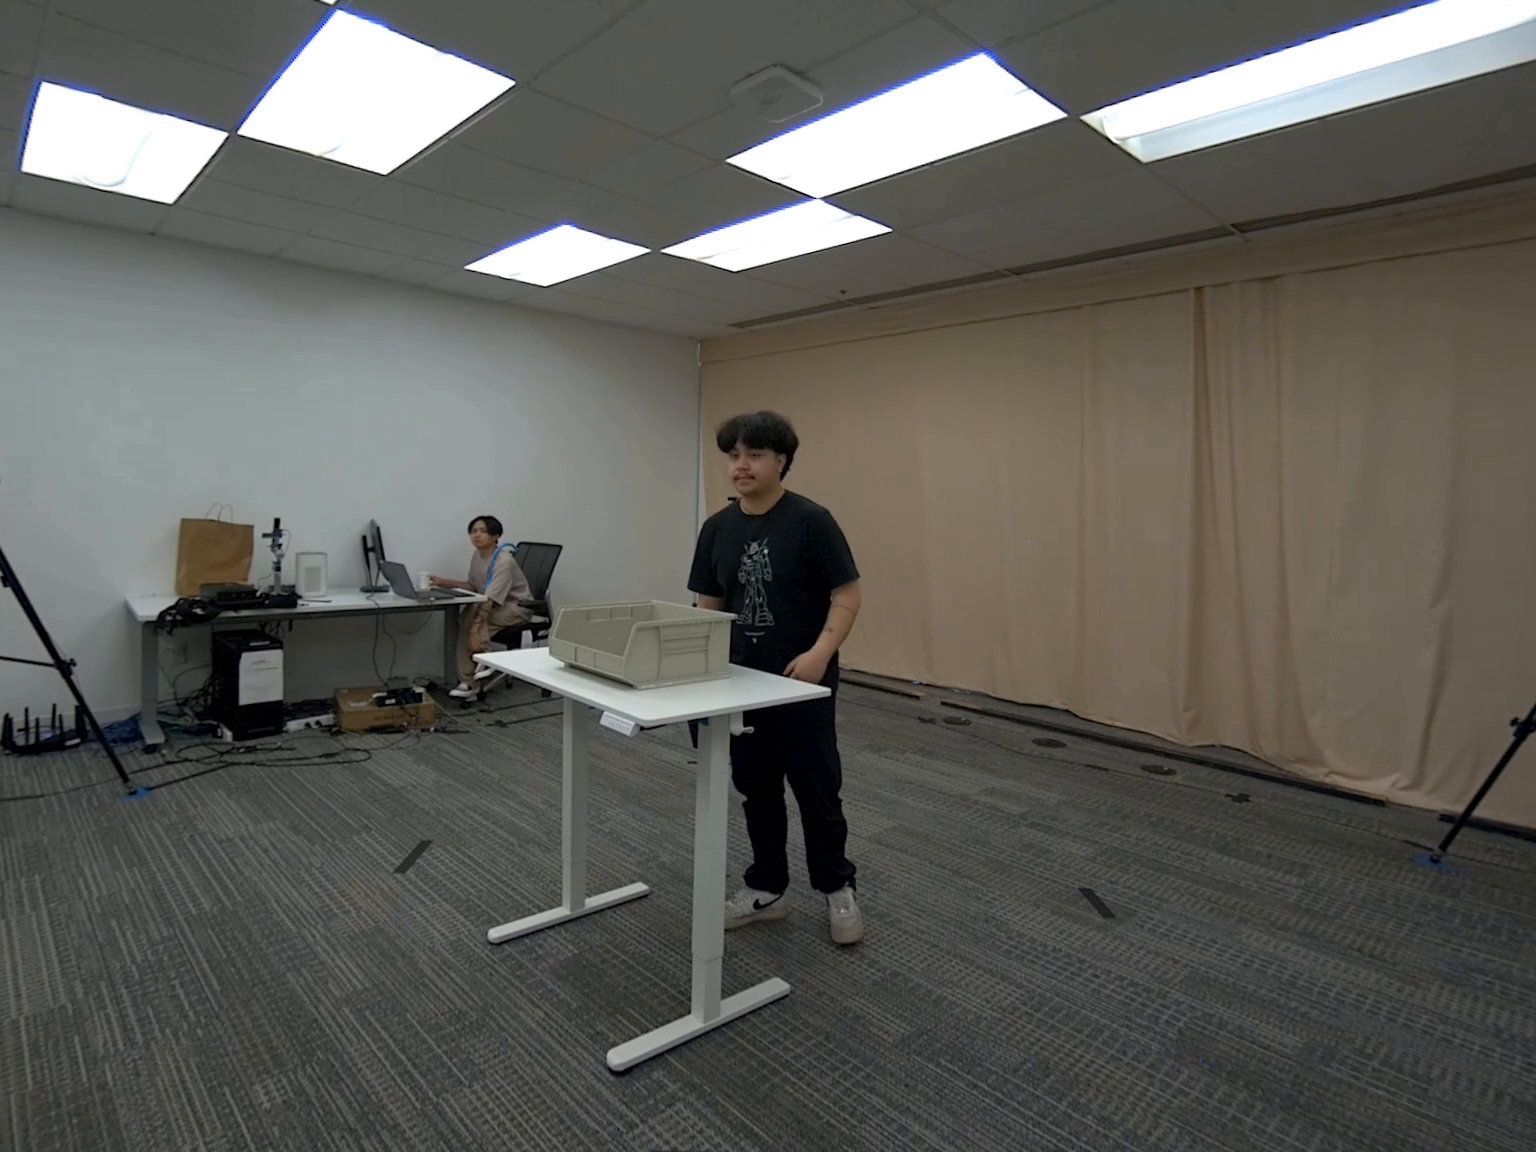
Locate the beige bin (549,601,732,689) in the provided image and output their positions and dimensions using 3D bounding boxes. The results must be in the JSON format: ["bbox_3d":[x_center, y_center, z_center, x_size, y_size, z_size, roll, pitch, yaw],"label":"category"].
[{"bbox_3d":[-0.374,0.192,2.432,0.368,0.188,0.433,-1,4,-41],"label":"beige bin"}]
